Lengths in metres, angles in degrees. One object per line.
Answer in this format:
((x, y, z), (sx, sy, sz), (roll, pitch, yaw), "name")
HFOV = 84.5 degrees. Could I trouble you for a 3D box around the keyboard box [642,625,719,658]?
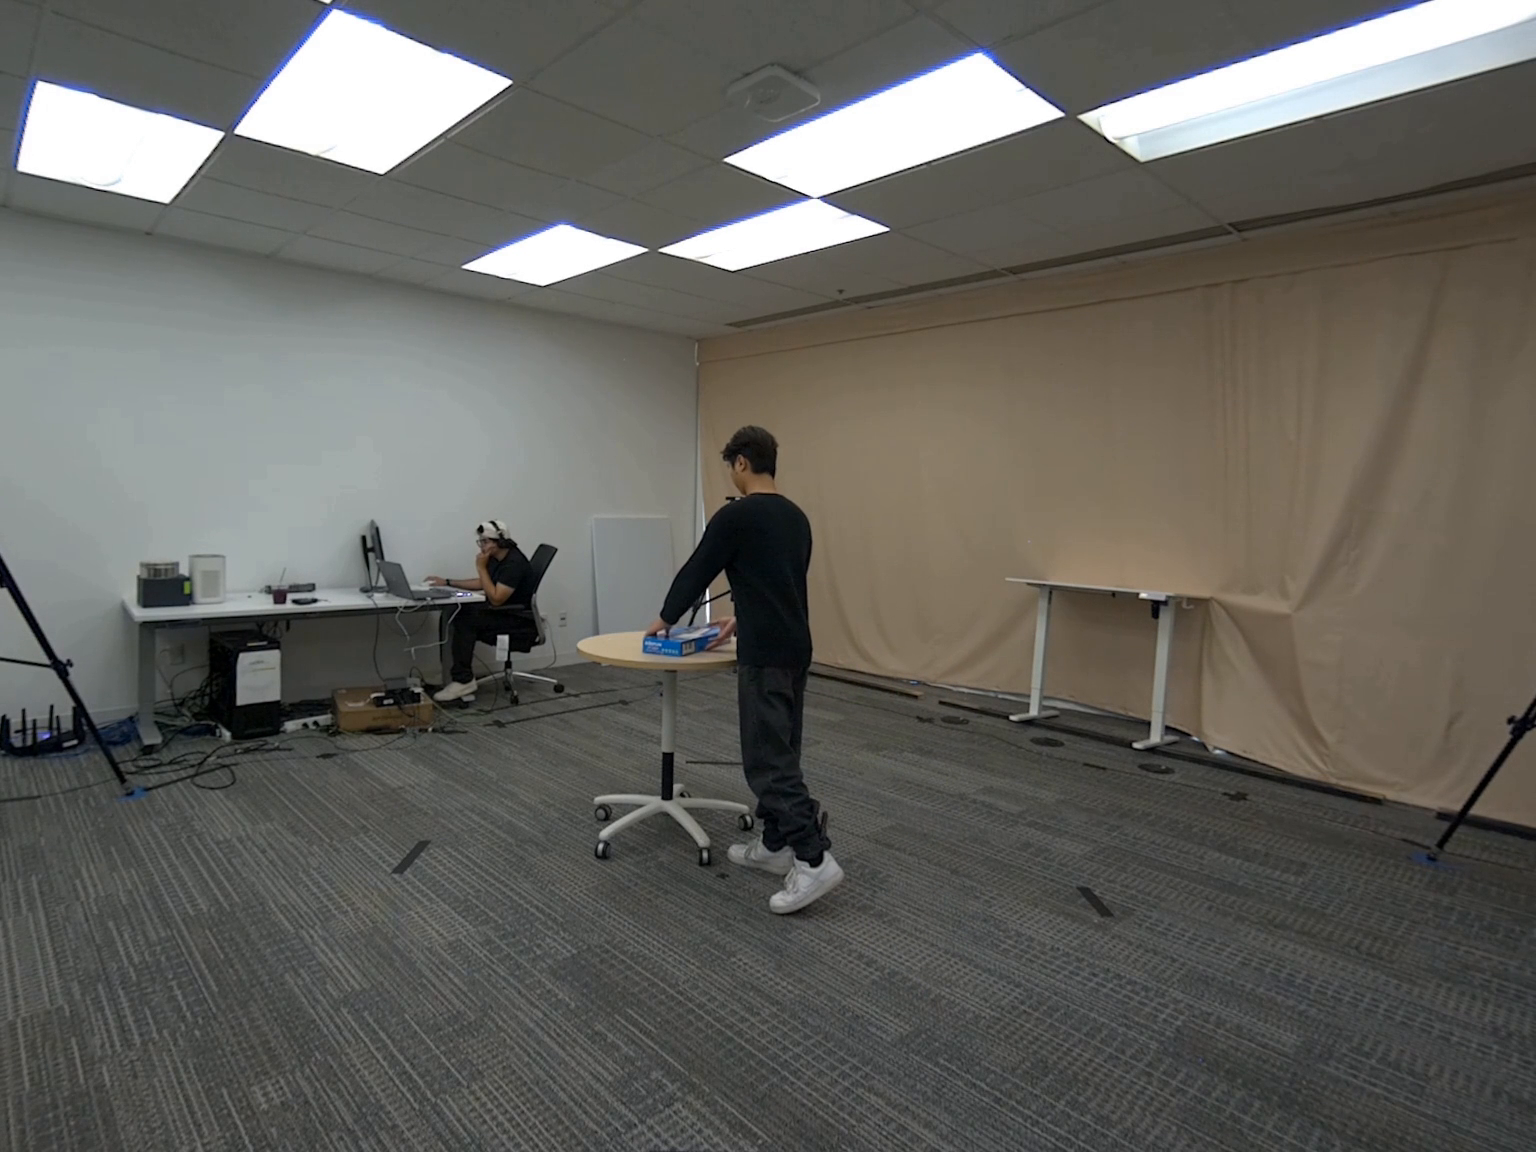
((-0.324, 0.261, 3.435), (0.179, 0.059, 0.430), (4, 6, 24), "keyboard box")
